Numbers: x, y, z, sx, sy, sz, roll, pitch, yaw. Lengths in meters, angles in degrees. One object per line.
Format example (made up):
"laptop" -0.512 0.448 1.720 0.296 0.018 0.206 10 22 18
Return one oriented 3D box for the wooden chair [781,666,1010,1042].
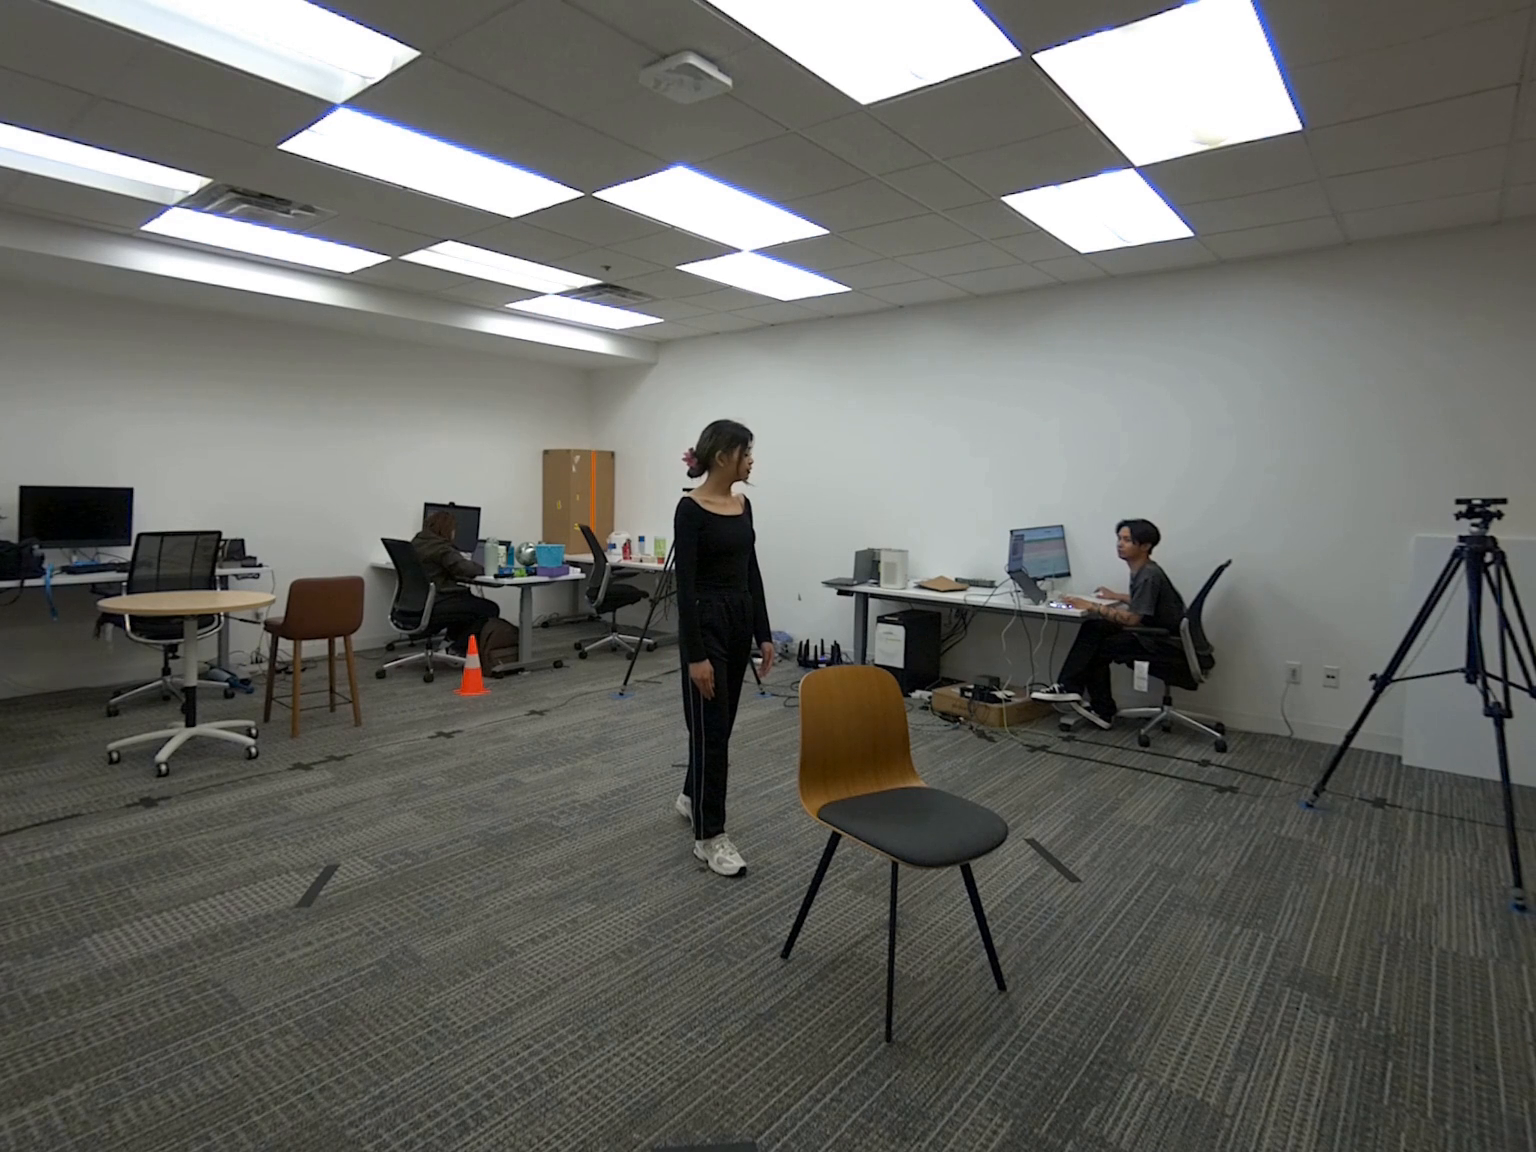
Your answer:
"wooden chair" 0.365 0.720 2.425 0.464 0.878 0.538 0 -1 -34
